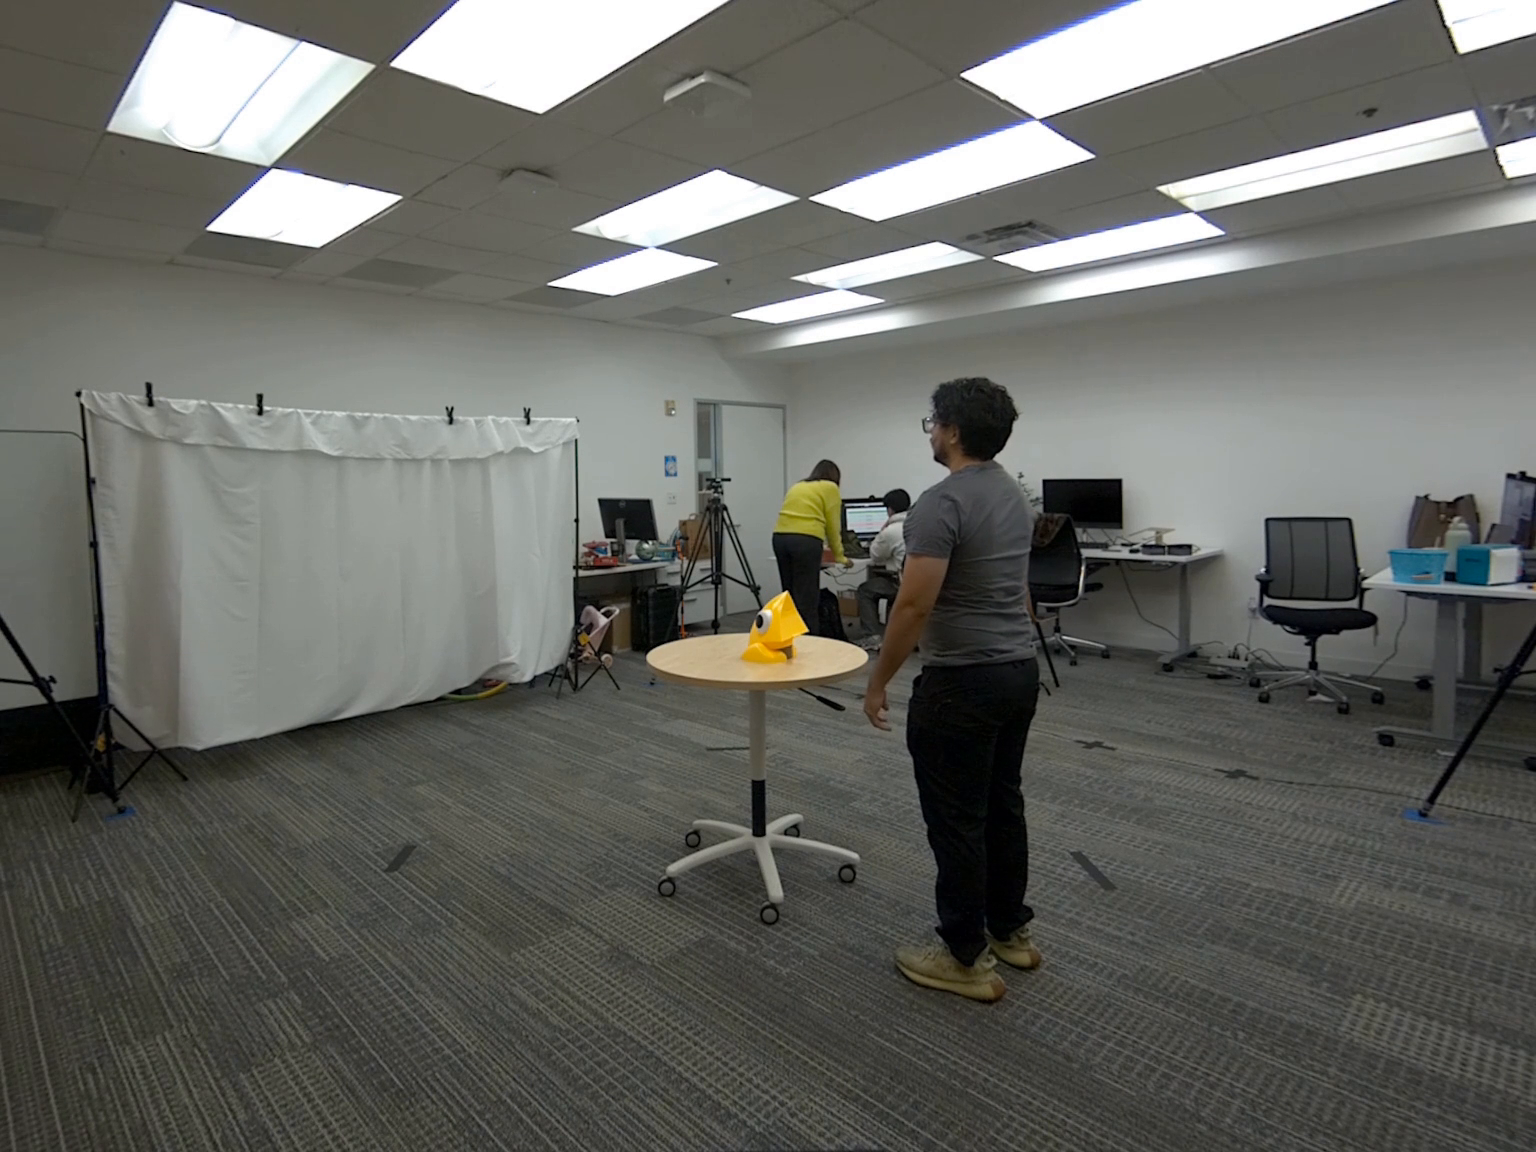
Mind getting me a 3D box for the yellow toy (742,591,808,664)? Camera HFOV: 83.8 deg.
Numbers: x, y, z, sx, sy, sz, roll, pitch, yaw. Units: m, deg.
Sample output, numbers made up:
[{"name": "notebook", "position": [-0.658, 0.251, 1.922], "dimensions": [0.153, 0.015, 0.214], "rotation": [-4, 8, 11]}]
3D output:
[{"name": "yellow toy", "position": [0.016, 0.163, 2.925], "dimensions": [0.198, 0.230, 0.200], "rotation": [2, 6, 29]}]
